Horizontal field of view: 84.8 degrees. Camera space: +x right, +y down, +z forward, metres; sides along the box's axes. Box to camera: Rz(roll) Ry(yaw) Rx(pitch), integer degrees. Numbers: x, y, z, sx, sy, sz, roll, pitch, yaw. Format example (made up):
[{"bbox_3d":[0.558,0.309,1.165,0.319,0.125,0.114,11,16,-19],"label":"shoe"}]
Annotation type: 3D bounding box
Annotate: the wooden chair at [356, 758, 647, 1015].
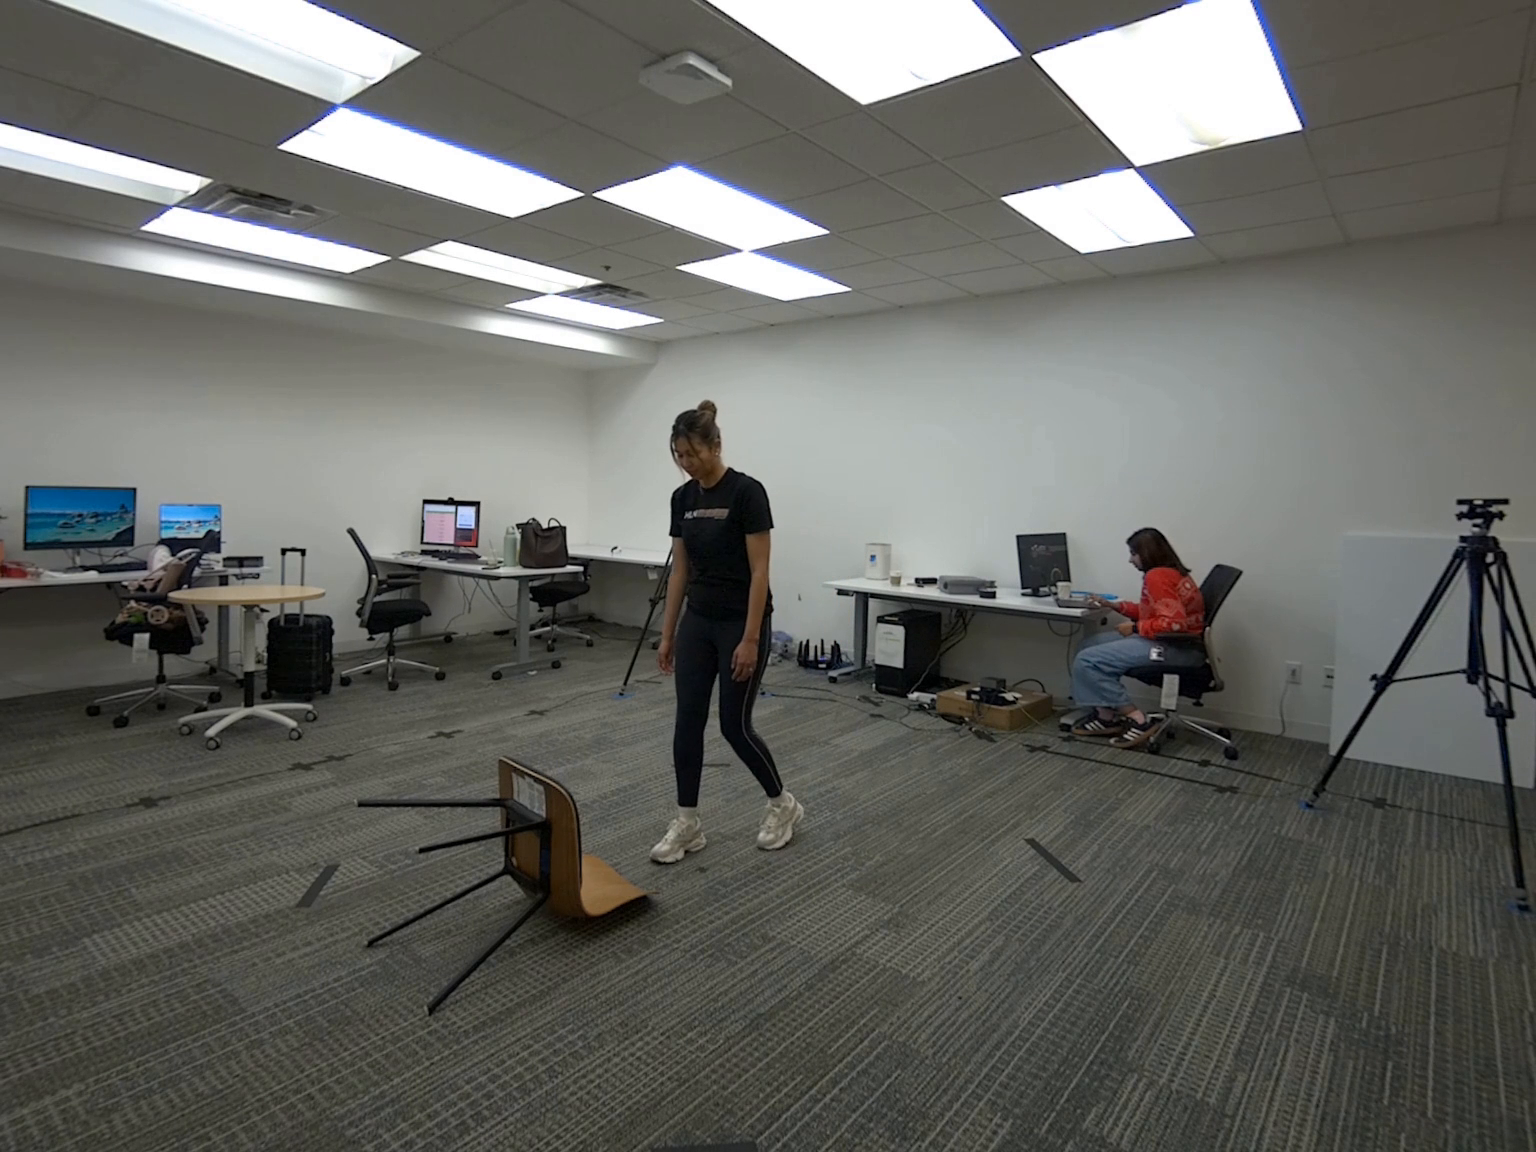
[{"bbox_3d":[-0.757,0.846,2.651,0.850,0.522,0.494,-3,5,-44],"label":"wooden chair"}]
